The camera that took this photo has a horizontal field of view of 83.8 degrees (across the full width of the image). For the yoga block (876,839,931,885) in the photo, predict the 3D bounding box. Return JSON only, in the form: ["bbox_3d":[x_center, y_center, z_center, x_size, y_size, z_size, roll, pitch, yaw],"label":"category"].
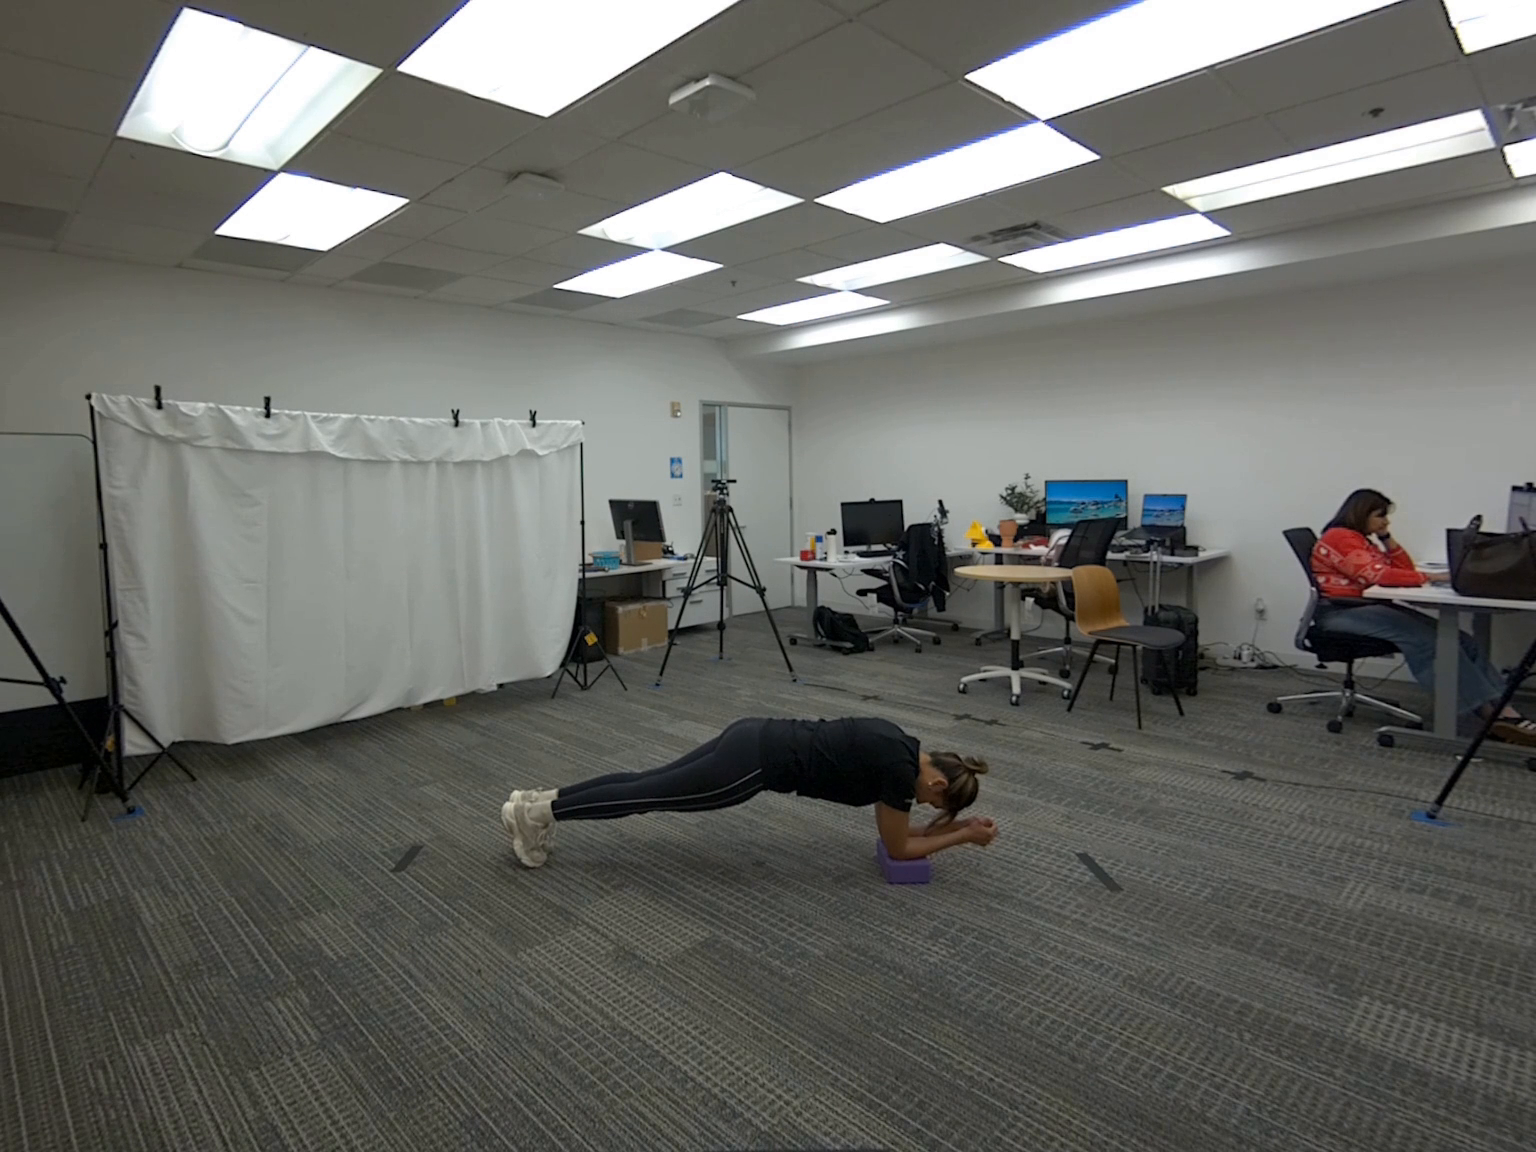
[{"bbox_3d":[0.477,1.001,3.039,0.149,0.076,0.230,1,6,0],"label":"yoga block"}]
